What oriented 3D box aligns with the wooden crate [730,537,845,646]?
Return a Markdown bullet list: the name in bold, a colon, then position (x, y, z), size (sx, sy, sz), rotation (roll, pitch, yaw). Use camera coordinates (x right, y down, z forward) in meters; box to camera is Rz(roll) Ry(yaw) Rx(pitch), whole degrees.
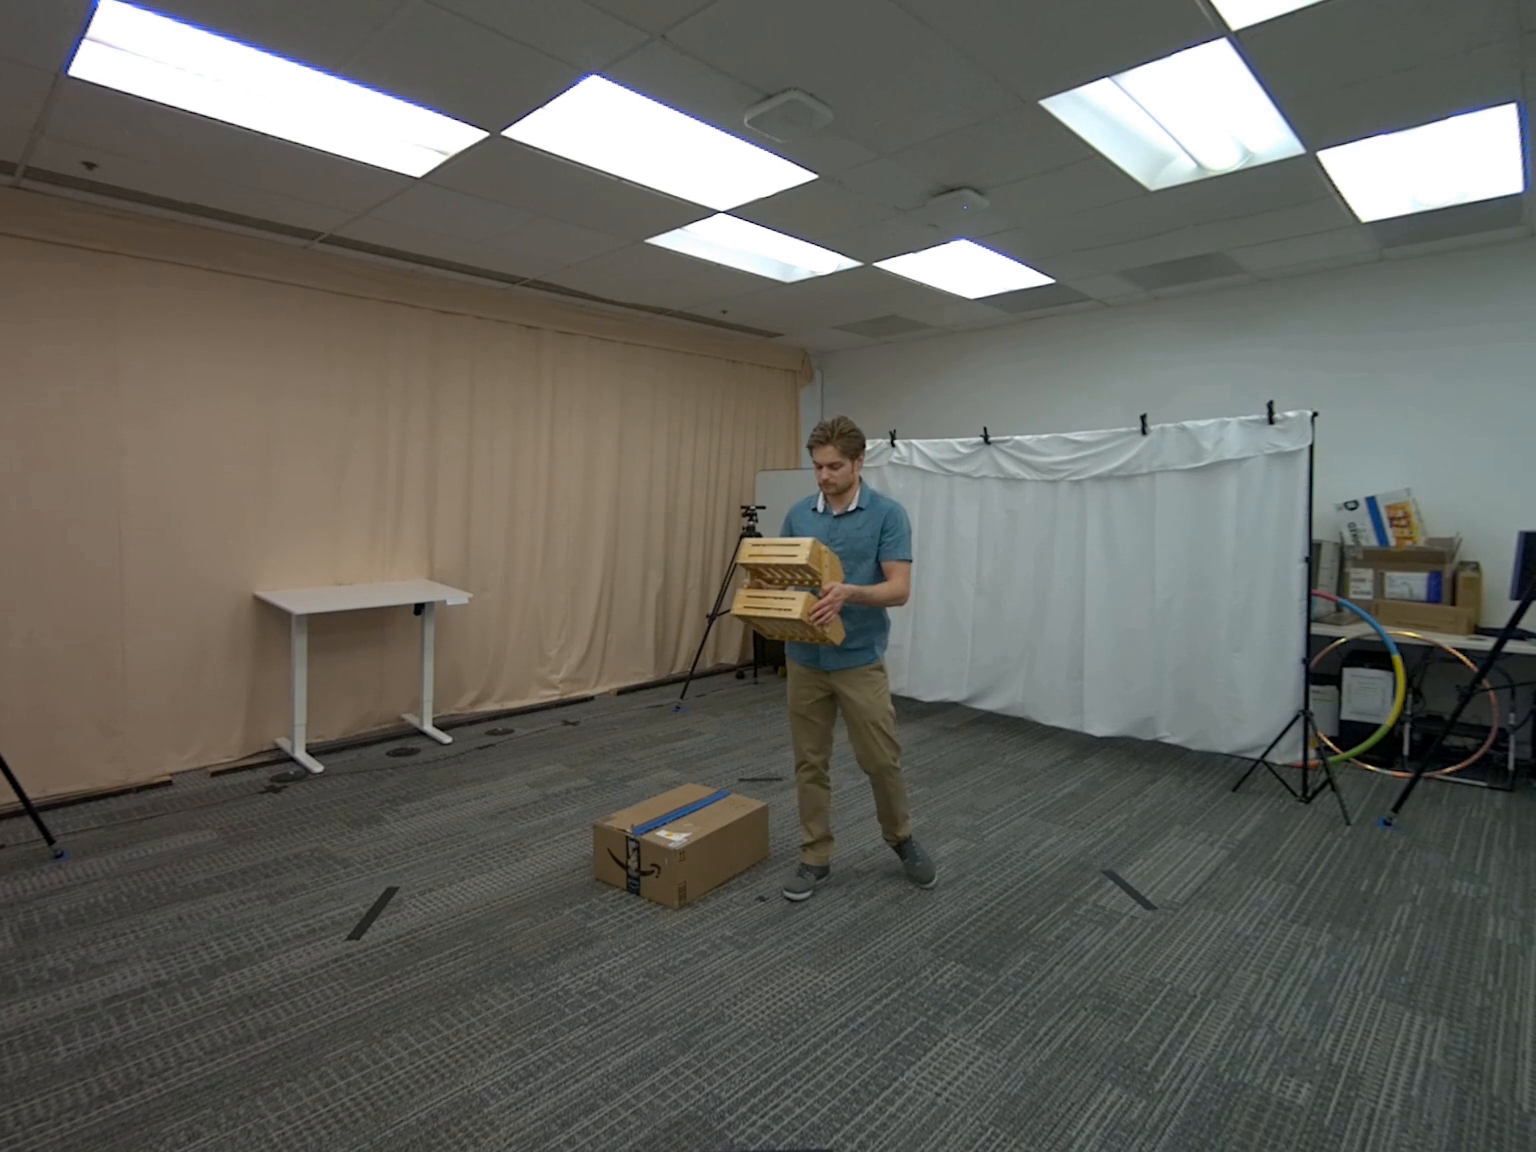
- **wooden crate**: position (0.091, 0.049, 2.846), size (0.335, 0.274, 0.291), rotation (1, -24, 41)
